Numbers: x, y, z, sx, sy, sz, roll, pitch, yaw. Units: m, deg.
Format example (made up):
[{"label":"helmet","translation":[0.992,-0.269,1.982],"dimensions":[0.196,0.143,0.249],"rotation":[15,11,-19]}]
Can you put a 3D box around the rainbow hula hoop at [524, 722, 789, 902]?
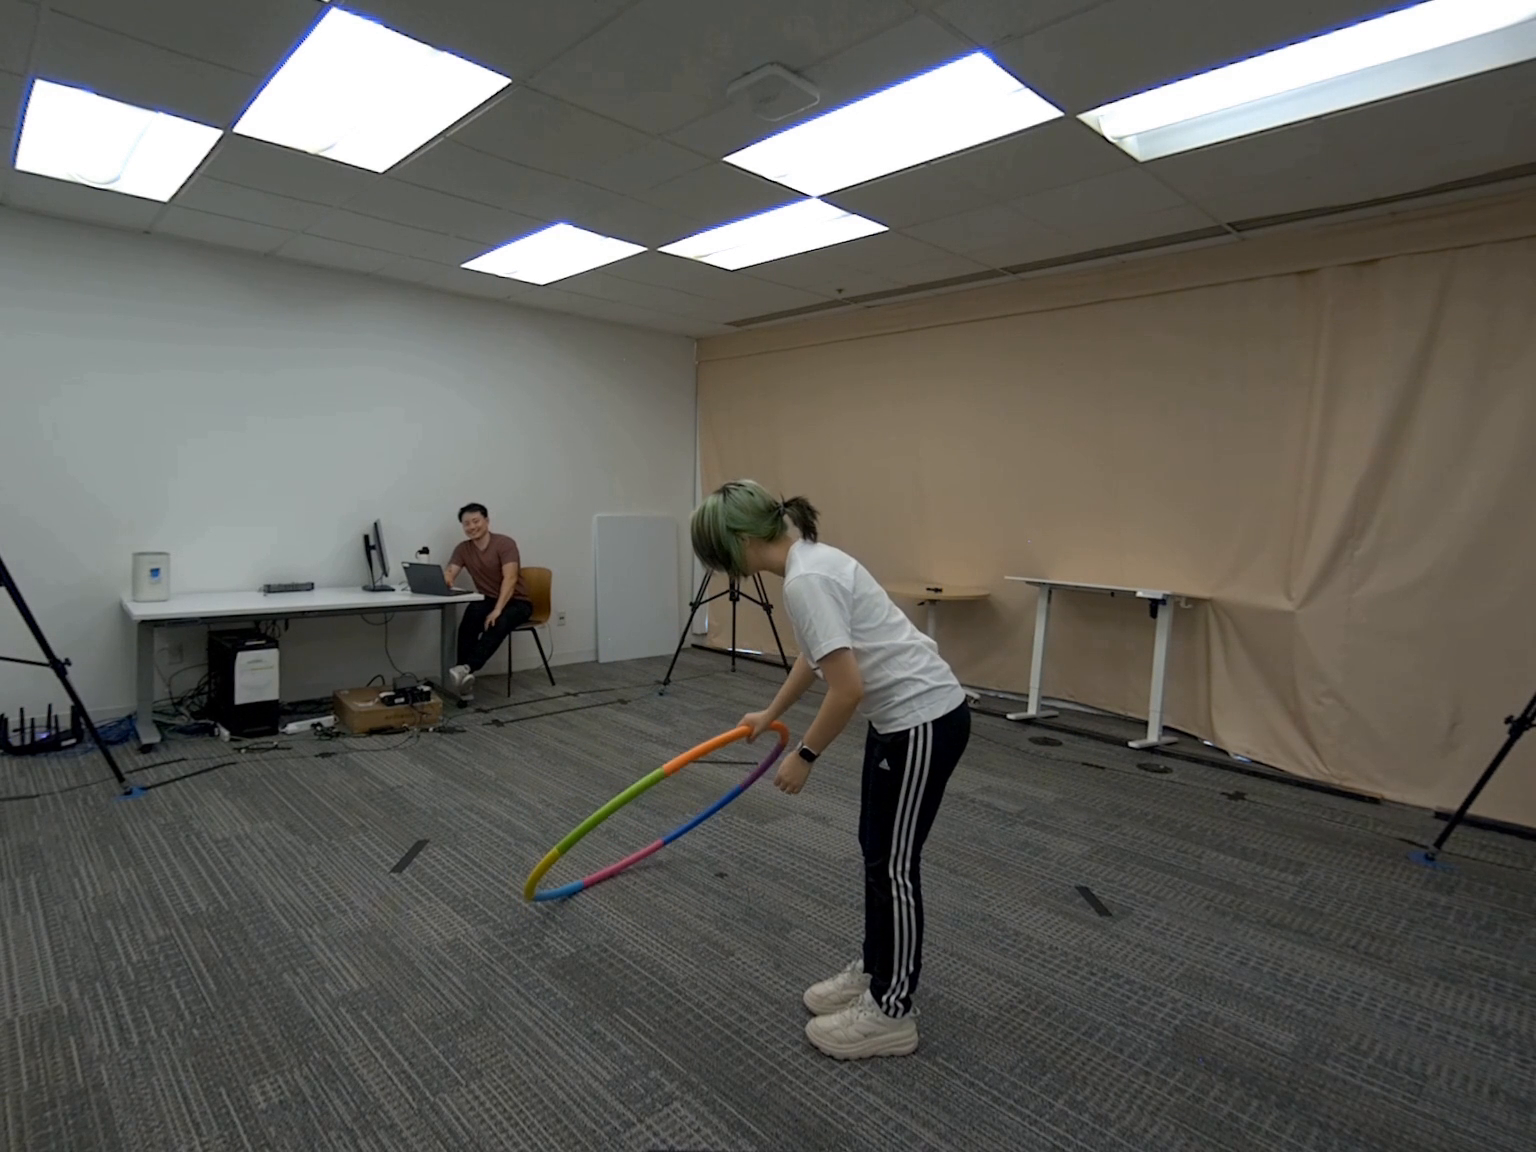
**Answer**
[{"label":"rainbow hula hoop","translation":[-0.351,0.778,2.772],"dimensions":[0.973,0.036,0.961],"rotation":[-29,-22,-15]}]
